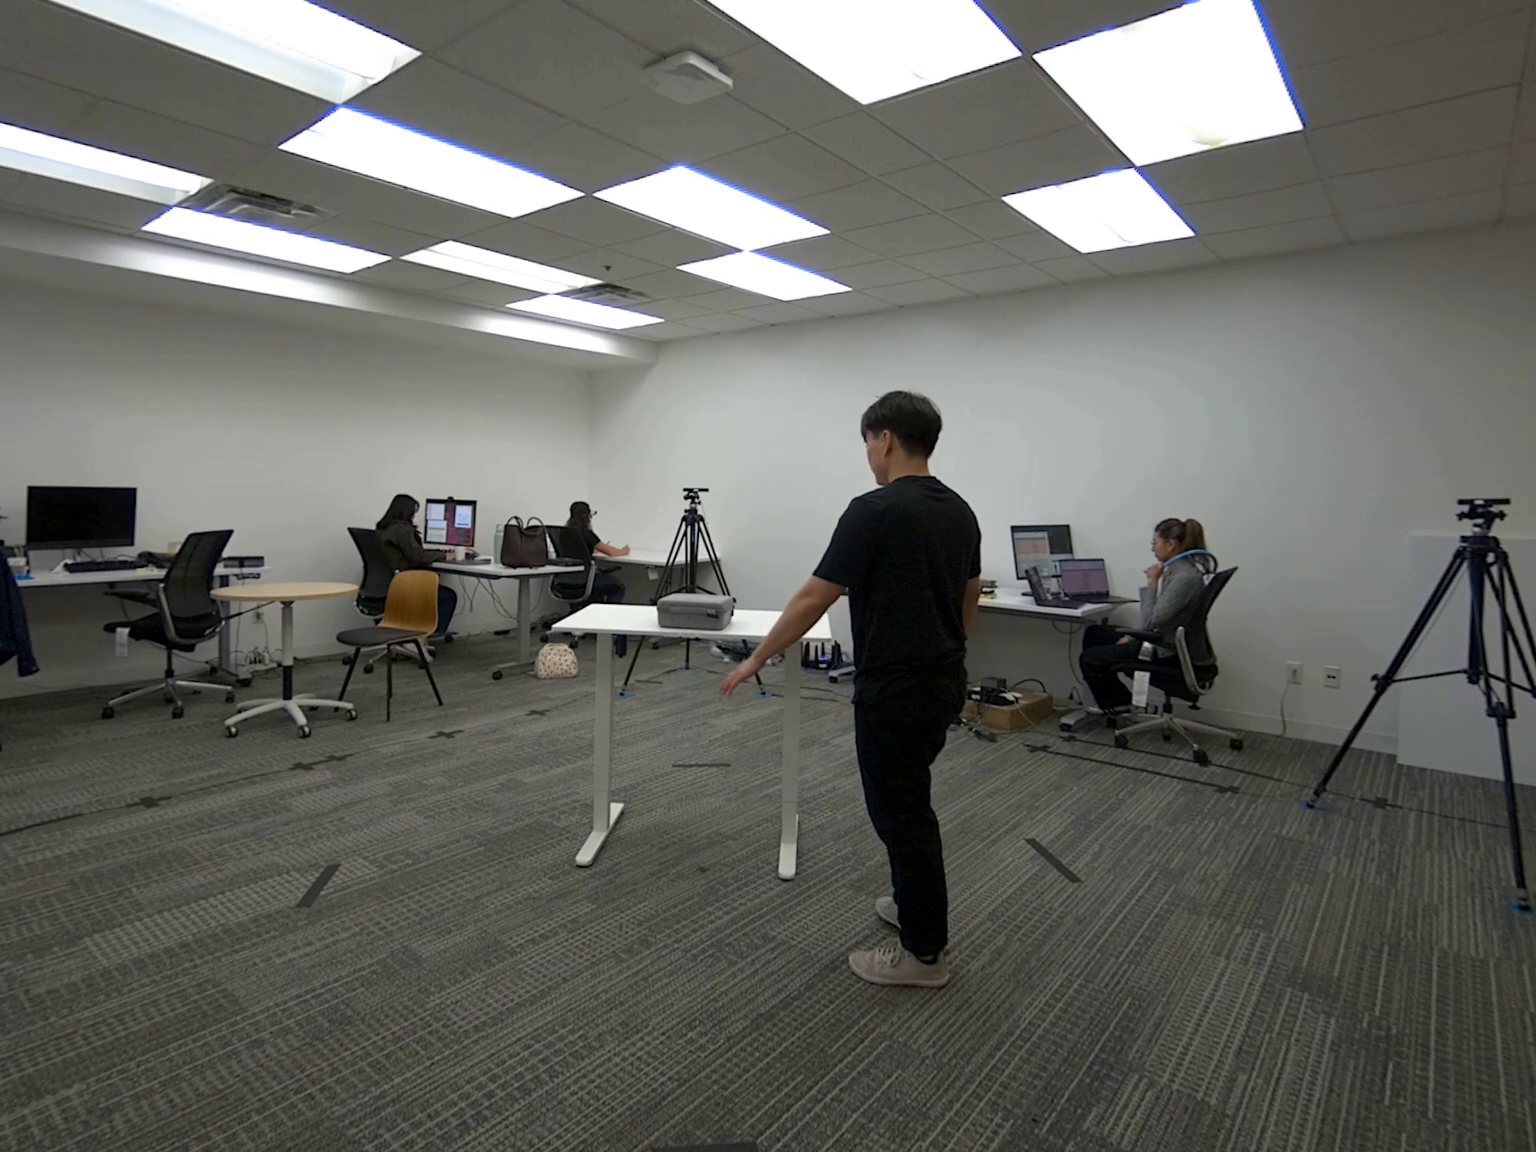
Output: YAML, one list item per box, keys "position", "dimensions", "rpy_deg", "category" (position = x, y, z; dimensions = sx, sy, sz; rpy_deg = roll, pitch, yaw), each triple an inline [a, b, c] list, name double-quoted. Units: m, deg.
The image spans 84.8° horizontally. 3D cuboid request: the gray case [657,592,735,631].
- position: [-0.283, 0.124, 3.198]
  dimensions: [0.260, 0.104, 0.259]
  rpy_deg: [1, 5, 9]
  category: "gray case"
